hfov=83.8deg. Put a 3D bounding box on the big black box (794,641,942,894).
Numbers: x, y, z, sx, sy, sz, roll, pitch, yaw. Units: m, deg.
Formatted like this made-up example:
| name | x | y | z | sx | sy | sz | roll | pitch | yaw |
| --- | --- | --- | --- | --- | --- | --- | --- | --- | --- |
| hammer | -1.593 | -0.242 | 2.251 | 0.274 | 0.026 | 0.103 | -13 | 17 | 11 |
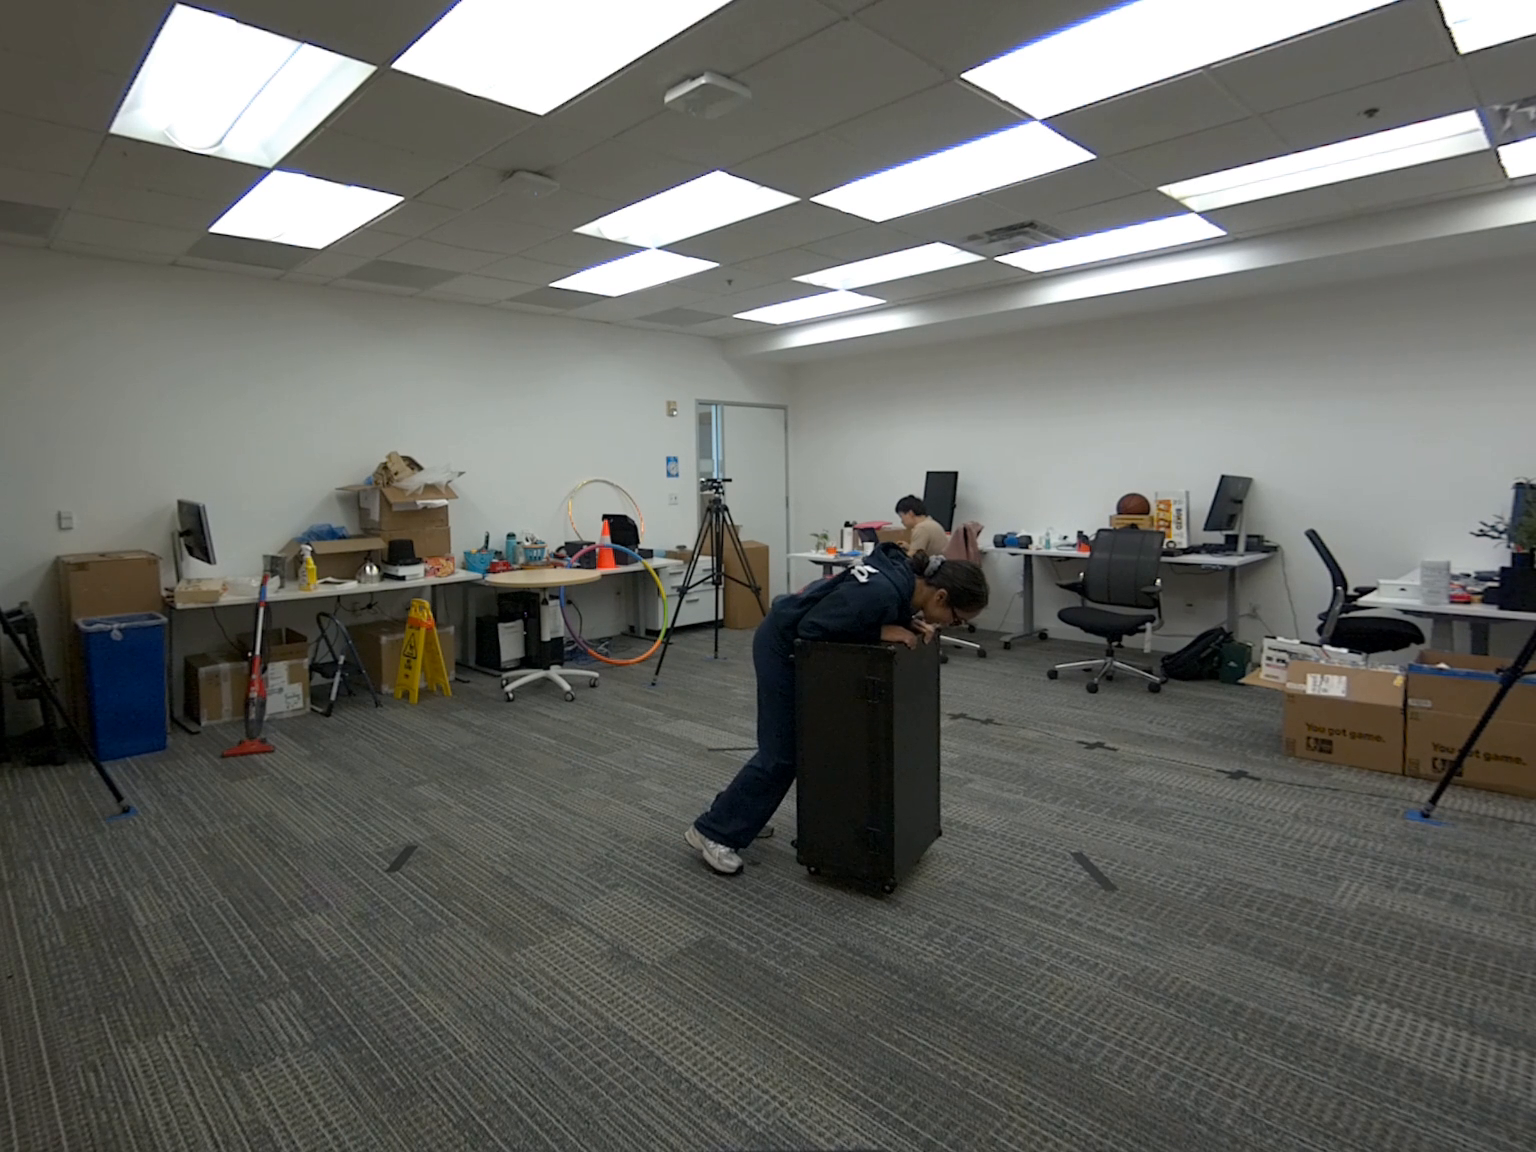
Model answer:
| name | x | y | z | sx | sy | sz | roll | pitch | yaw |
| --- | --- | --- | --- | --- | --- | --- | --- | --- | --- |
| big black box | 0.355 | 0.624 | 3.021 | 0.407 | 0.858 | 0.510 | 1 | 5 | 30 |
